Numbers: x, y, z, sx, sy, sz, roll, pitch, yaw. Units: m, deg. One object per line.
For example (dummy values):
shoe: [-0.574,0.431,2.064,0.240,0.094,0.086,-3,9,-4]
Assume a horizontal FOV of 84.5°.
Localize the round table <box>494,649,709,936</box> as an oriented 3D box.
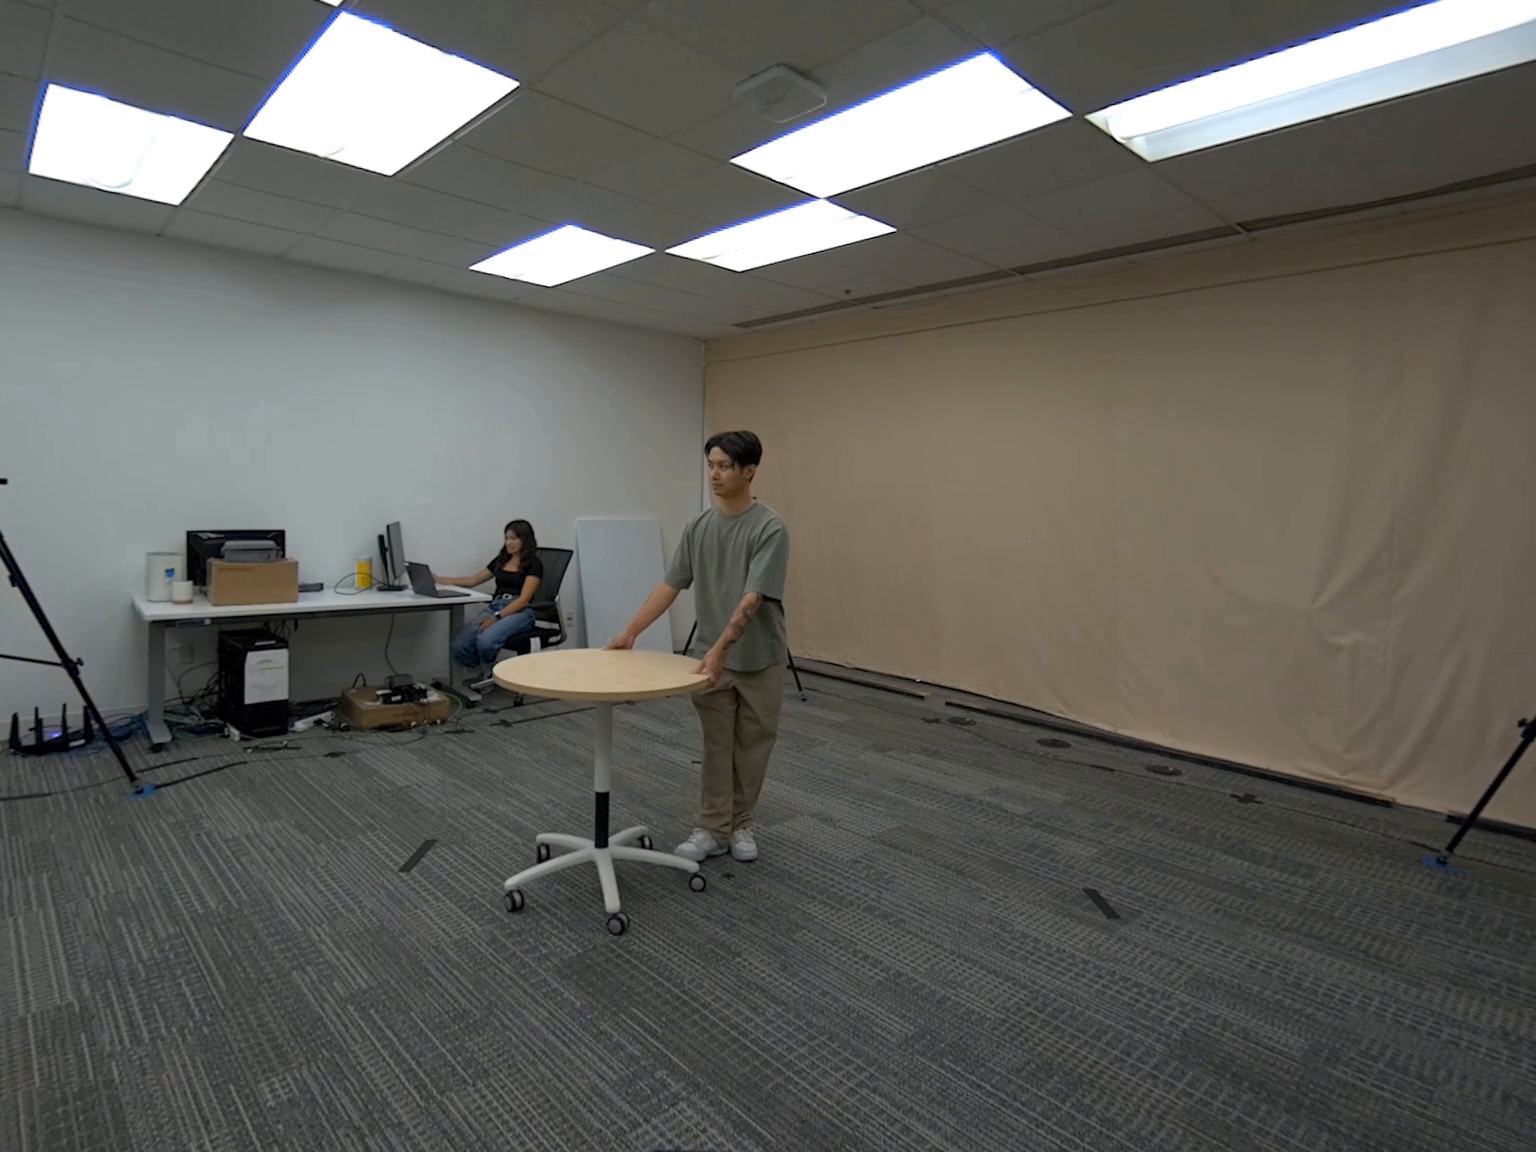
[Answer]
round table: [-0.603,0.714,2.981,0.784,0.784,0.787,2,4,-1]
